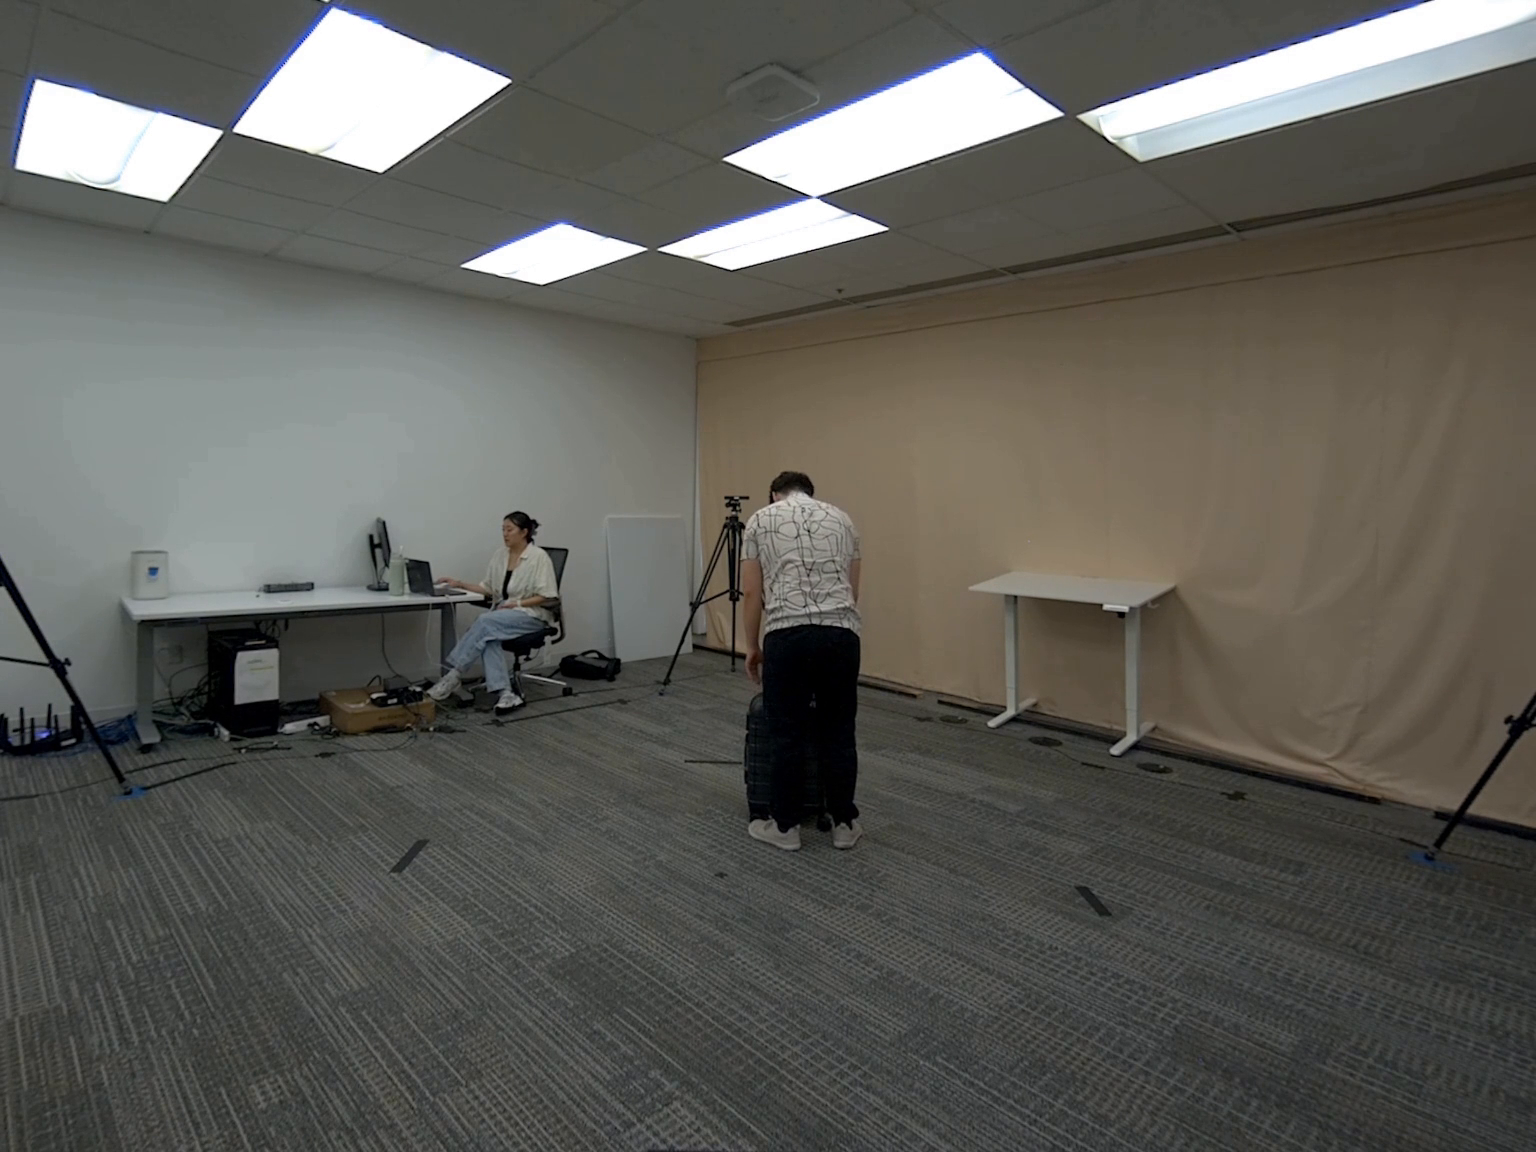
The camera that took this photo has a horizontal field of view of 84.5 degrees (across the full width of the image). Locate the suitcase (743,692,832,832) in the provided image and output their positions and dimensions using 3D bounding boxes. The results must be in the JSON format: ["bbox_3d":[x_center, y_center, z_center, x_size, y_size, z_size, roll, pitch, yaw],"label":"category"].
[{"bbox_3d":[0.081,0.785,3.686,0.377,0.549,0.247,1,1,5],"label":"suitcase"}]
